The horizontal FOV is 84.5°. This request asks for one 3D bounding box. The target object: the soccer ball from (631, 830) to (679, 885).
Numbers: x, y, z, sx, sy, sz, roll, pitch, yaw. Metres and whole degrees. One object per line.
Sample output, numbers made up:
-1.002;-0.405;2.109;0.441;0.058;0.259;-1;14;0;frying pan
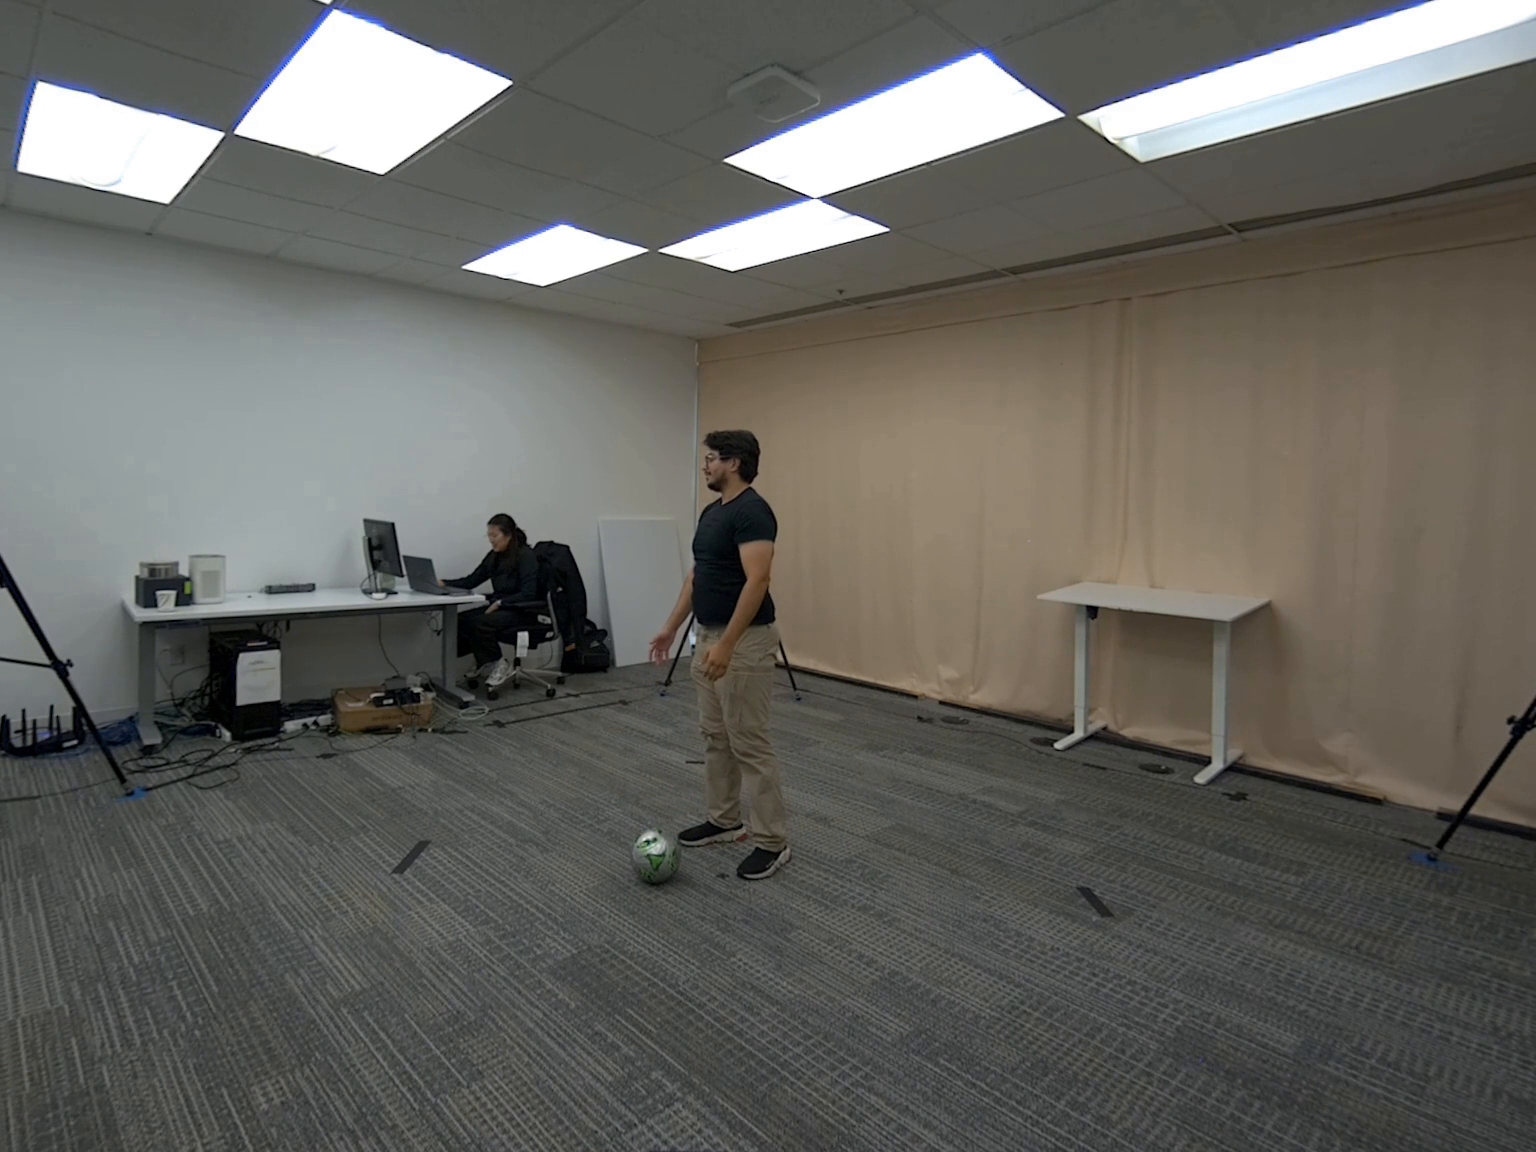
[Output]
-0.409;1.010;3.051;0.187;0.187;0.188;1;4;-1;soccer ball
